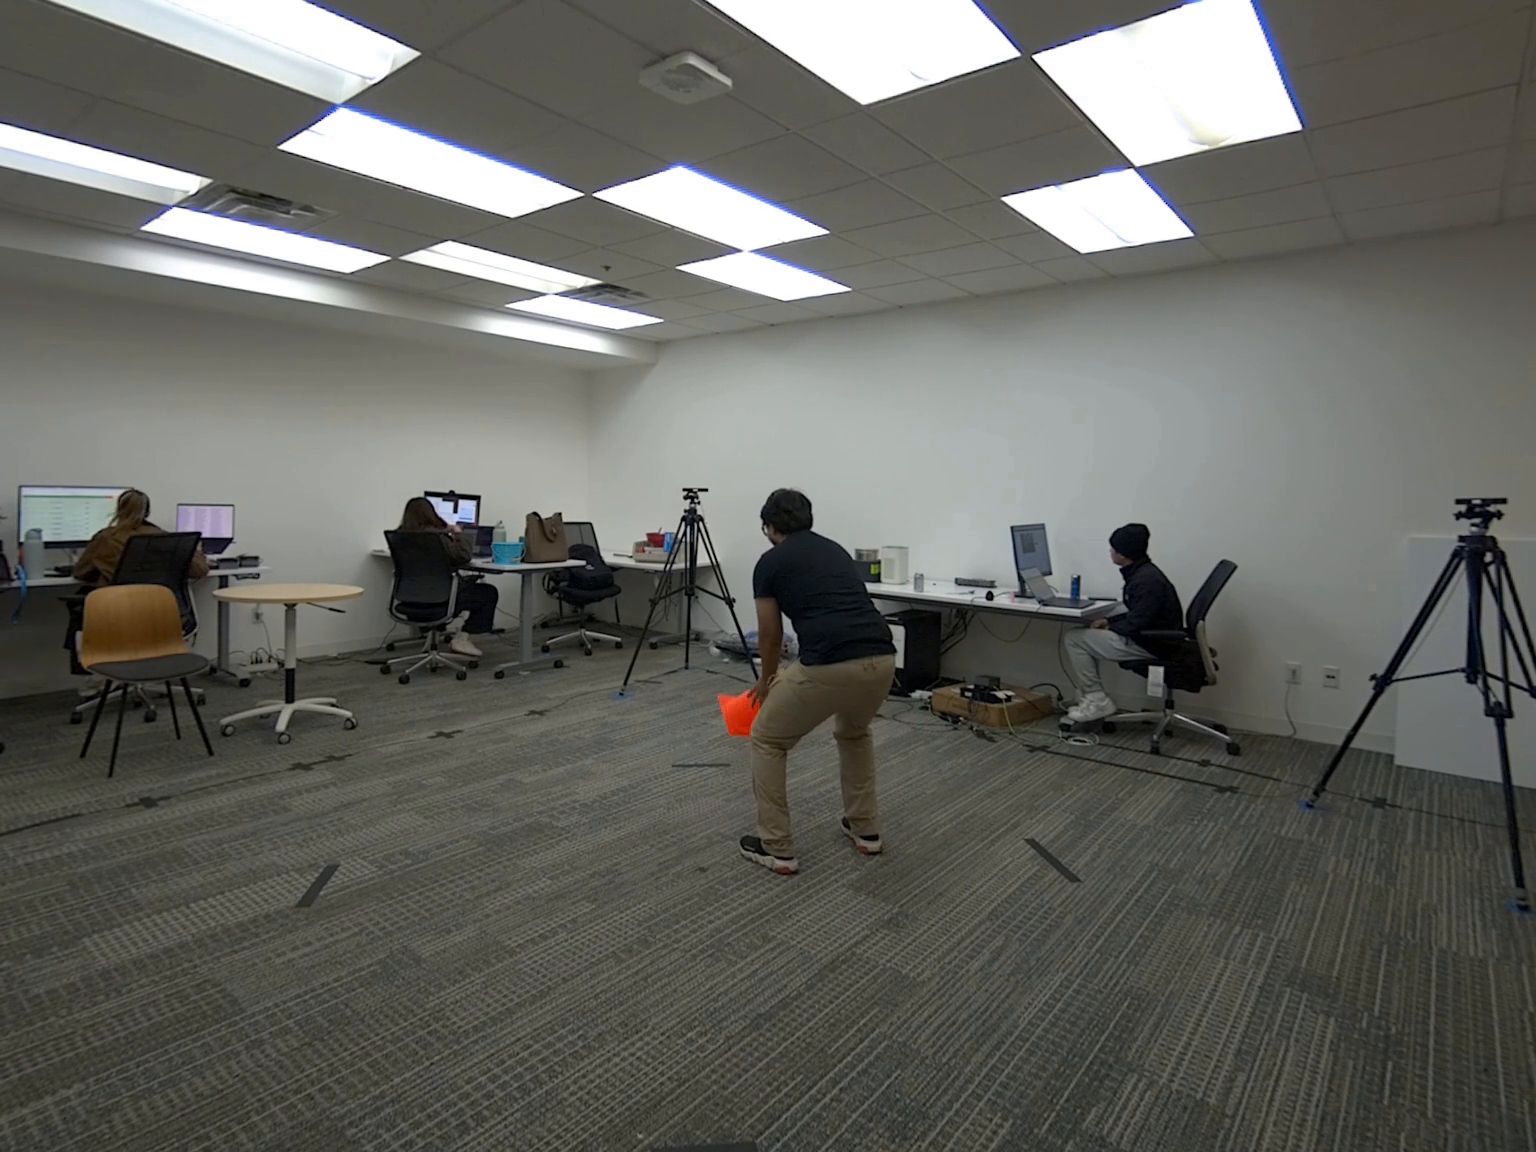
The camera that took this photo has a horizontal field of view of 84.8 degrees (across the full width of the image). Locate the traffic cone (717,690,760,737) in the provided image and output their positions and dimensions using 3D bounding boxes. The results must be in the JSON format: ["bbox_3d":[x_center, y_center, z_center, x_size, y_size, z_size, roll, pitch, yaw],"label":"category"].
[{"bbox_3d":[-0.025,0.493,3.610,0.198,0.210,0.383,18,-50,-31],"label":"traffic cone"}]
